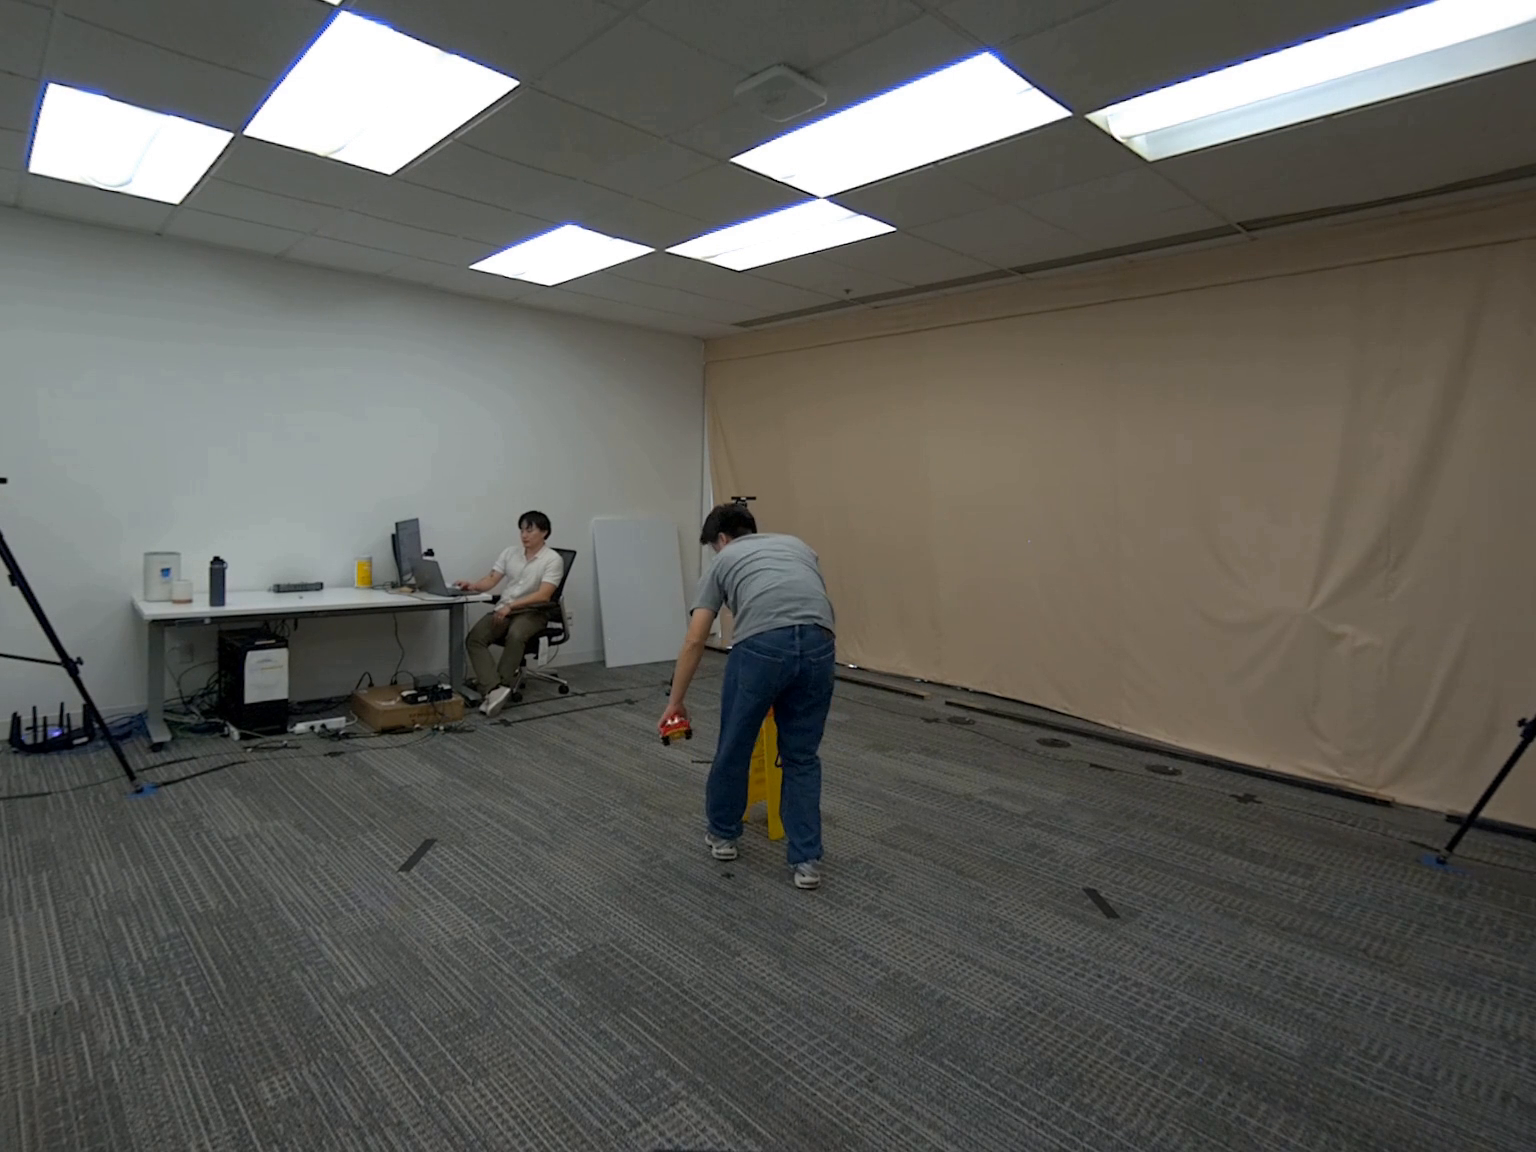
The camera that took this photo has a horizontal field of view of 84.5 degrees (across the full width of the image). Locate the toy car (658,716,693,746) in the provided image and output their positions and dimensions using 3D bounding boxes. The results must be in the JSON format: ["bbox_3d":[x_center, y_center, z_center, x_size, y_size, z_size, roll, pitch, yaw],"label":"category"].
[{"bbox_3d":[-0.343,0.603,3.217,0.130,0.085,0.250,-14,-25,-8],"label":"toy car"}]
